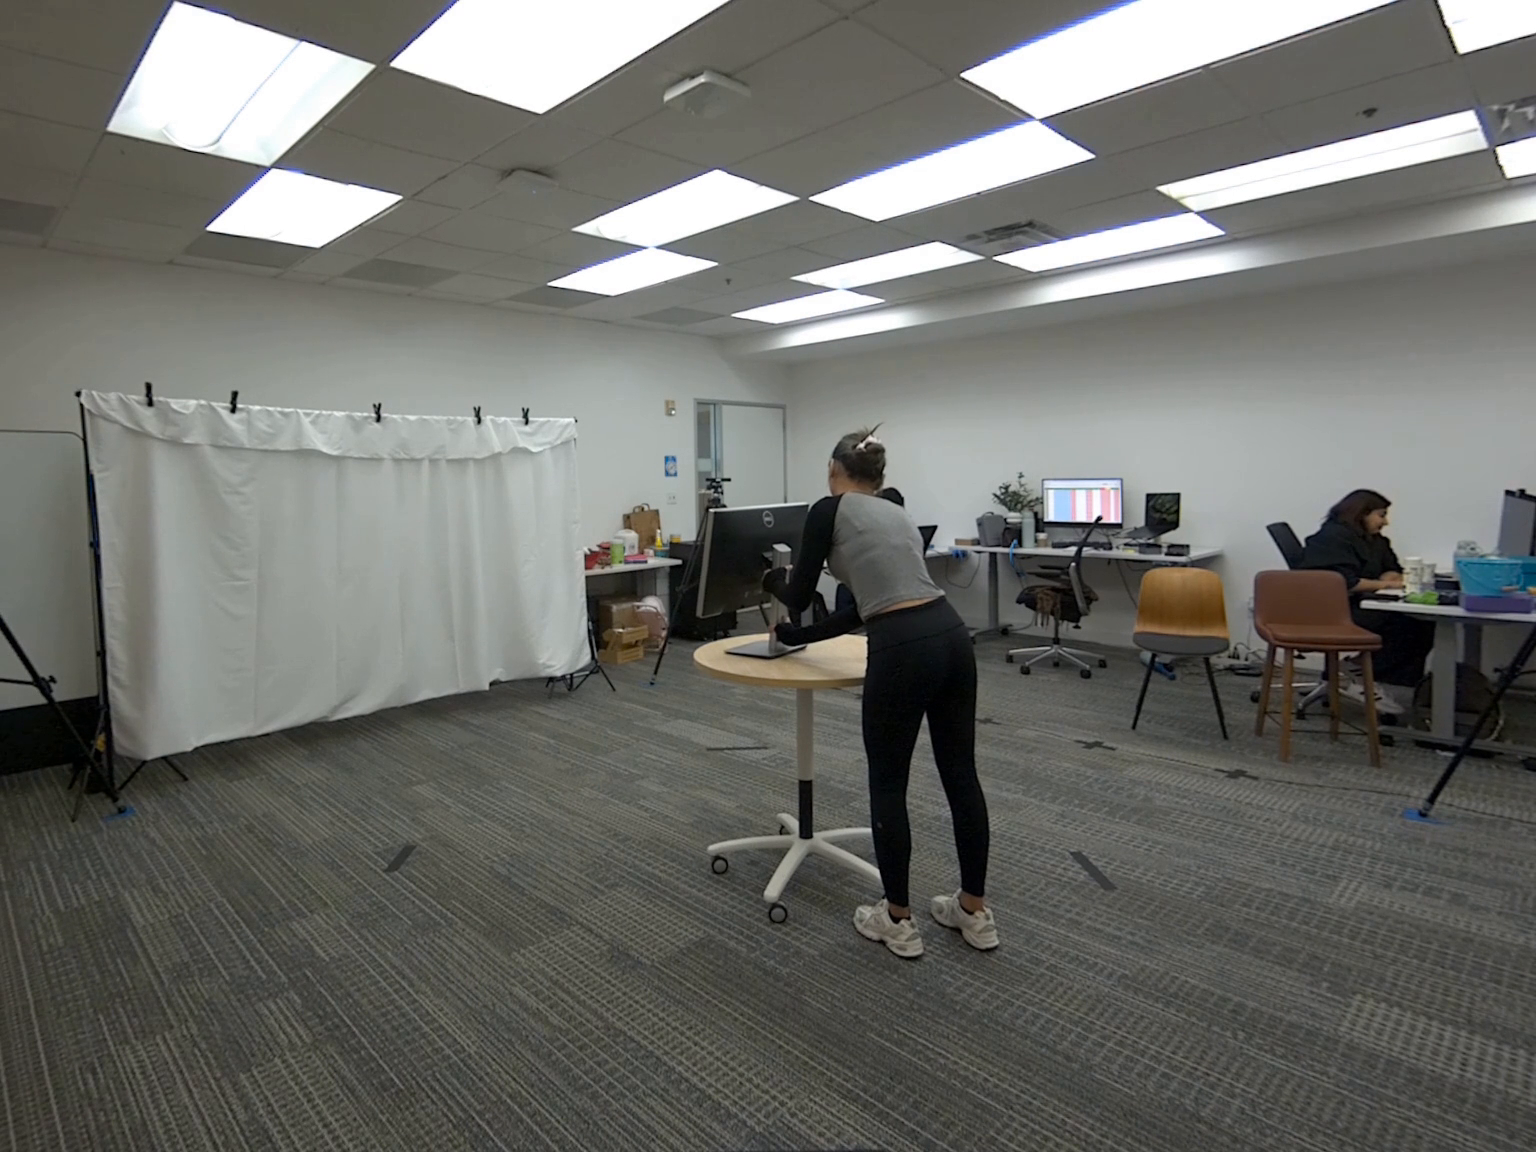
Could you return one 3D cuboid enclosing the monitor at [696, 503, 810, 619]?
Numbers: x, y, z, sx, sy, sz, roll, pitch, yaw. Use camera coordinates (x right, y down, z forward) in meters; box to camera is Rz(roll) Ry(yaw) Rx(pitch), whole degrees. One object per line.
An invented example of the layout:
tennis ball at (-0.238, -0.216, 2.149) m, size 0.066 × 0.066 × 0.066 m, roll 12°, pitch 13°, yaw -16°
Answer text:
monitor at (-0.006, 0.018, 2.973) m, size 0.192 × 0.522 × 0.526 m, roll -3°, pitch 3°, yaw 37°
